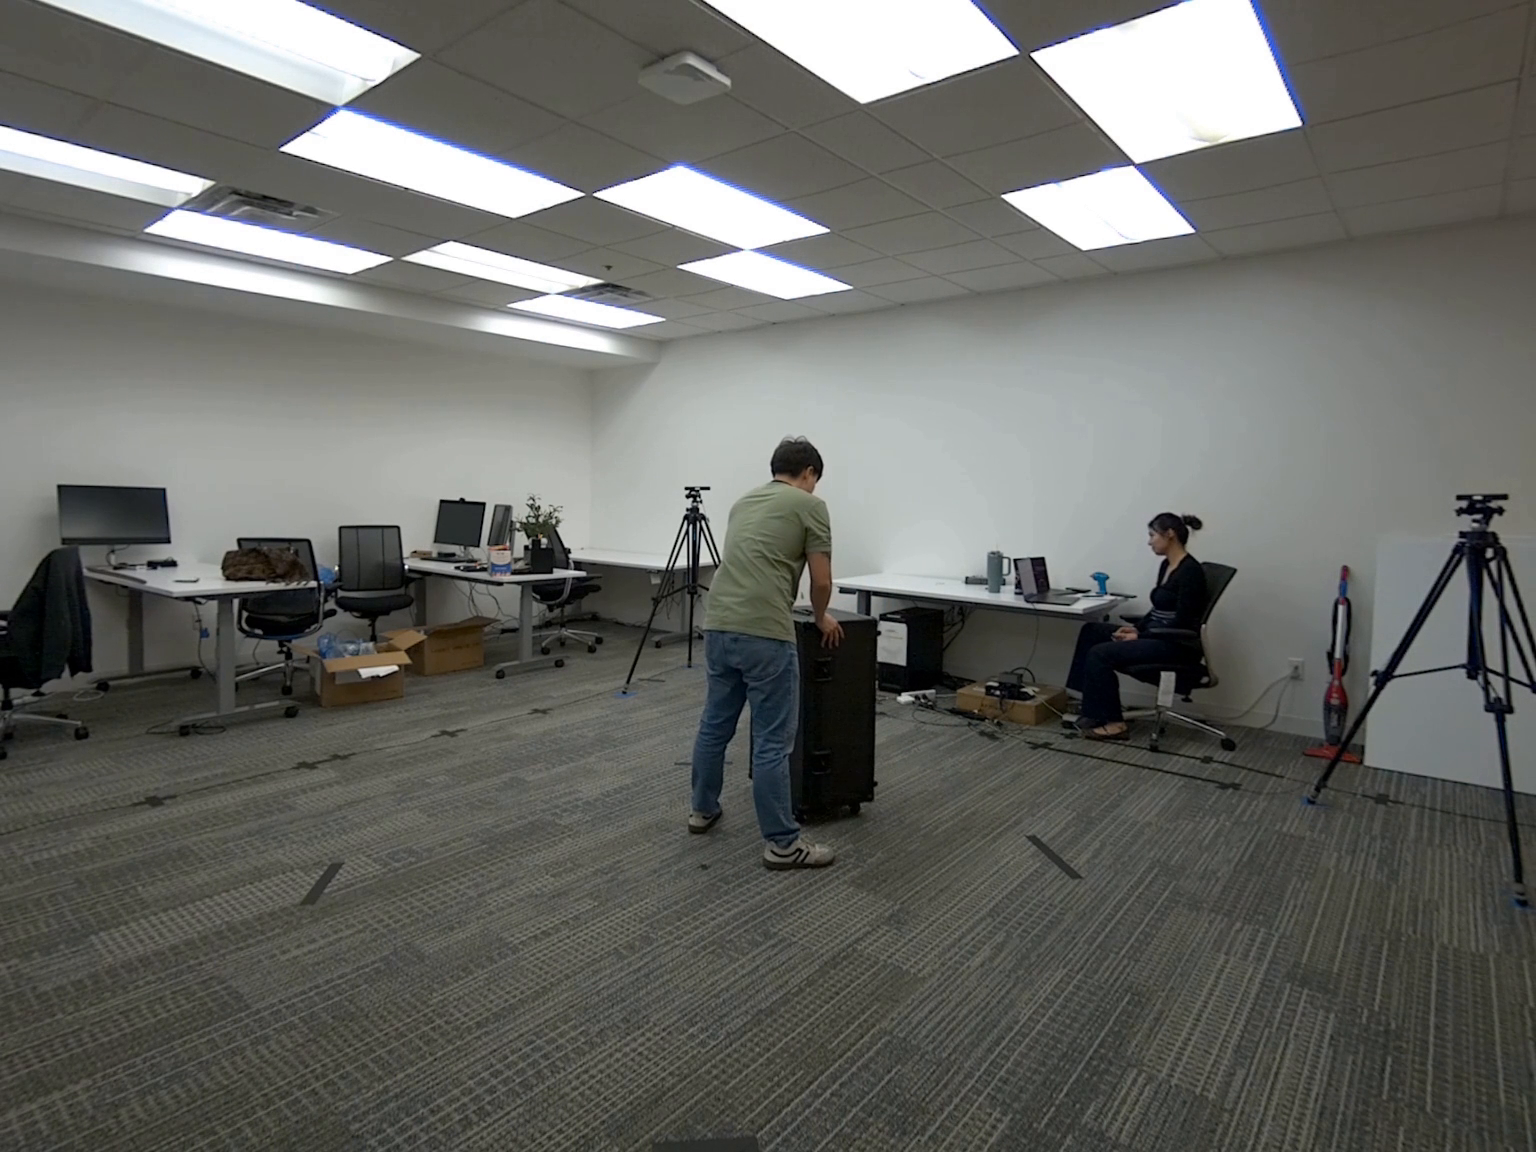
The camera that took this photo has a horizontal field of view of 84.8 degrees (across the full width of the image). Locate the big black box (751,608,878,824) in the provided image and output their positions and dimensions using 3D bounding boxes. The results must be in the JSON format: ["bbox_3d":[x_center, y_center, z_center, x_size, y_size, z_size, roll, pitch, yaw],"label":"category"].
[{"bbox_3d":[0.197,0.585,3.759,0.386,0.860,0.536,0,3,-29],"label":"big black box"}]
